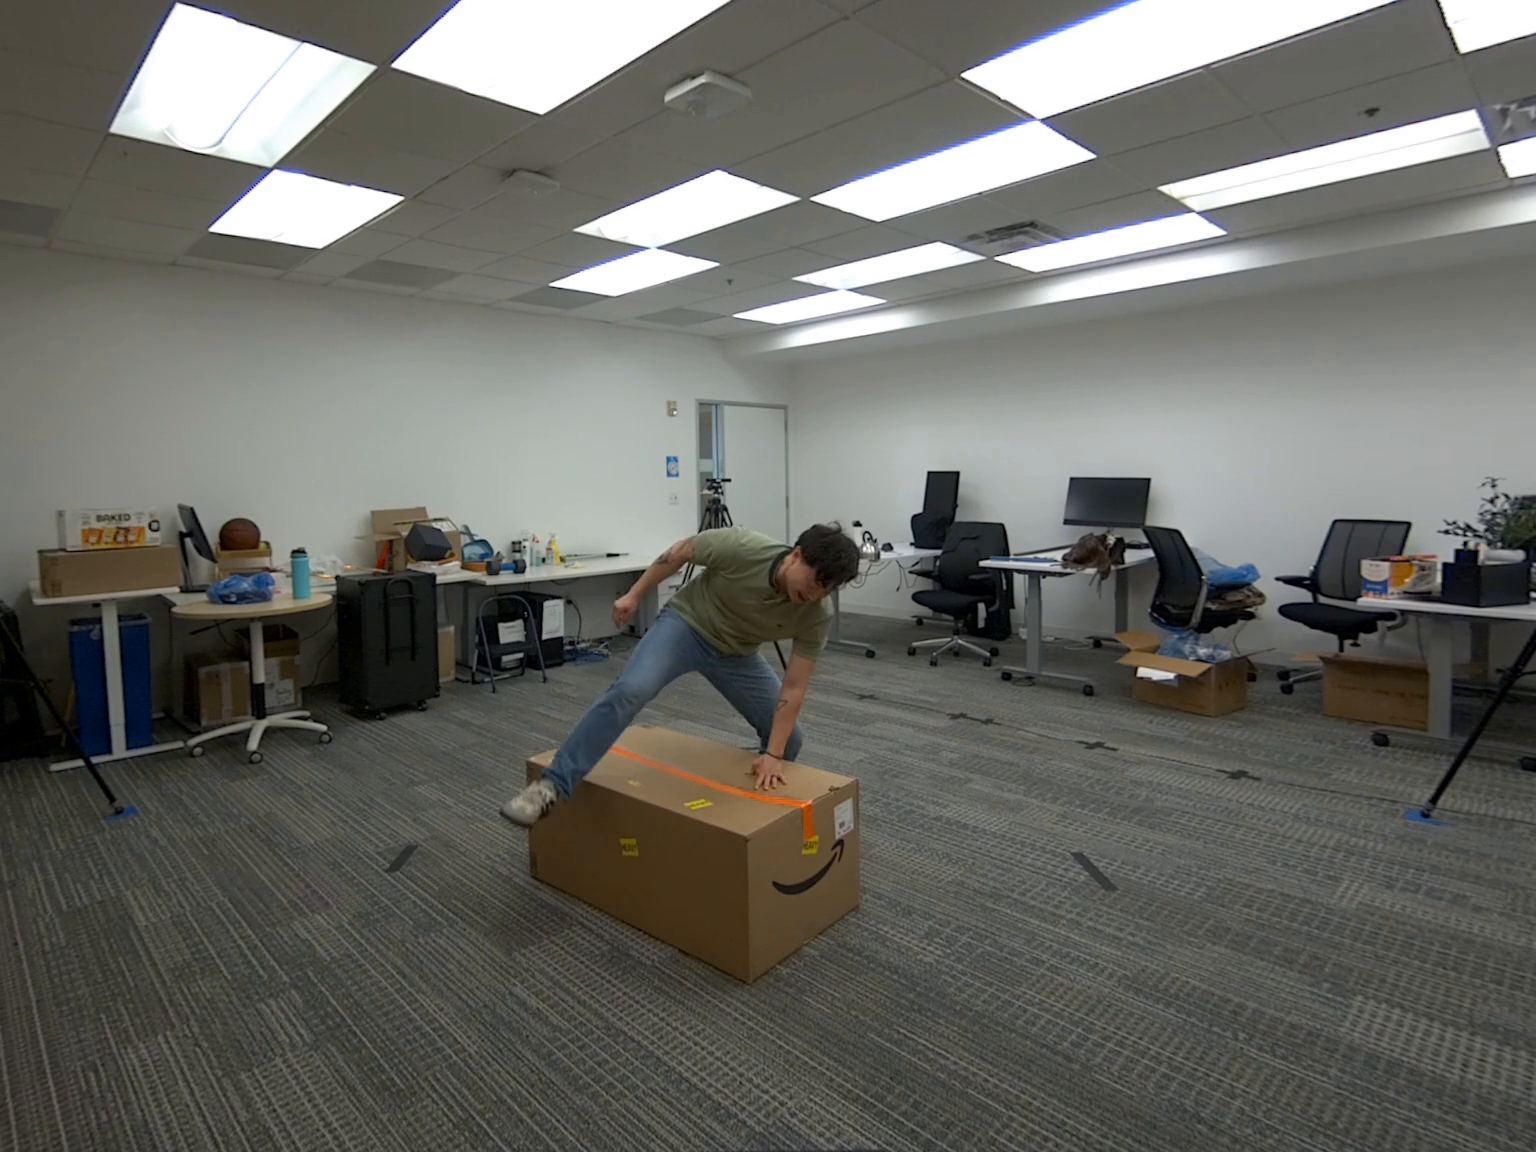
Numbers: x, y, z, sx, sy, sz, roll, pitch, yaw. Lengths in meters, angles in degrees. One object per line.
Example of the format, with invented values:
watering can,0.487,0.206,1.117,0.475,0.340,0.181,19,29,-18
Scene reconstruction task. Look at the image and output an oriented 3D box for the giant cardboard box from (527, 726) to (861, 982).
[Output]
giant cardboard box,-0.274,0.861,2.900,1.057,0.424,0.563,4,8,40
